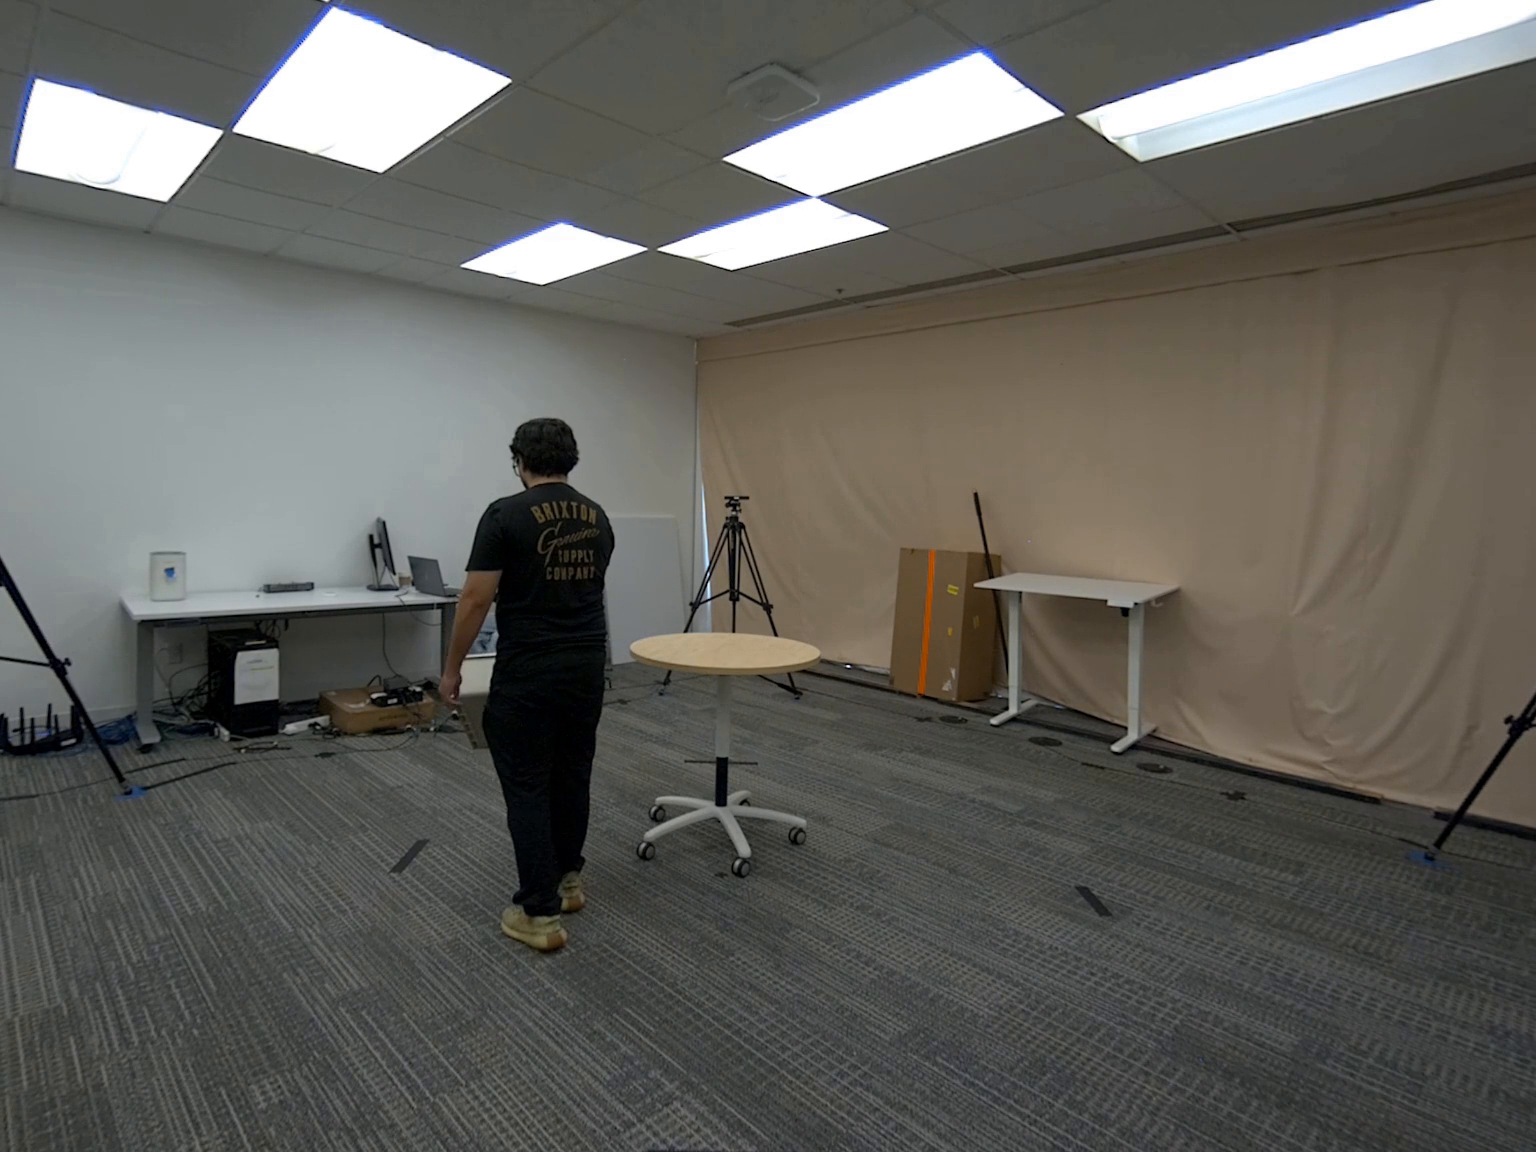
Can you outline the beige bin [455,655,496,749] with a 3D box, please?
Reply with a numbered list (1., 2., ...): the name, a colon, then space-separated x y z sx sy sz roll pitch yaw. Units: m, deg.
1. beige bin: -0.911 0.475 3.108 0.423 0.368 0.193 -2 44 2
